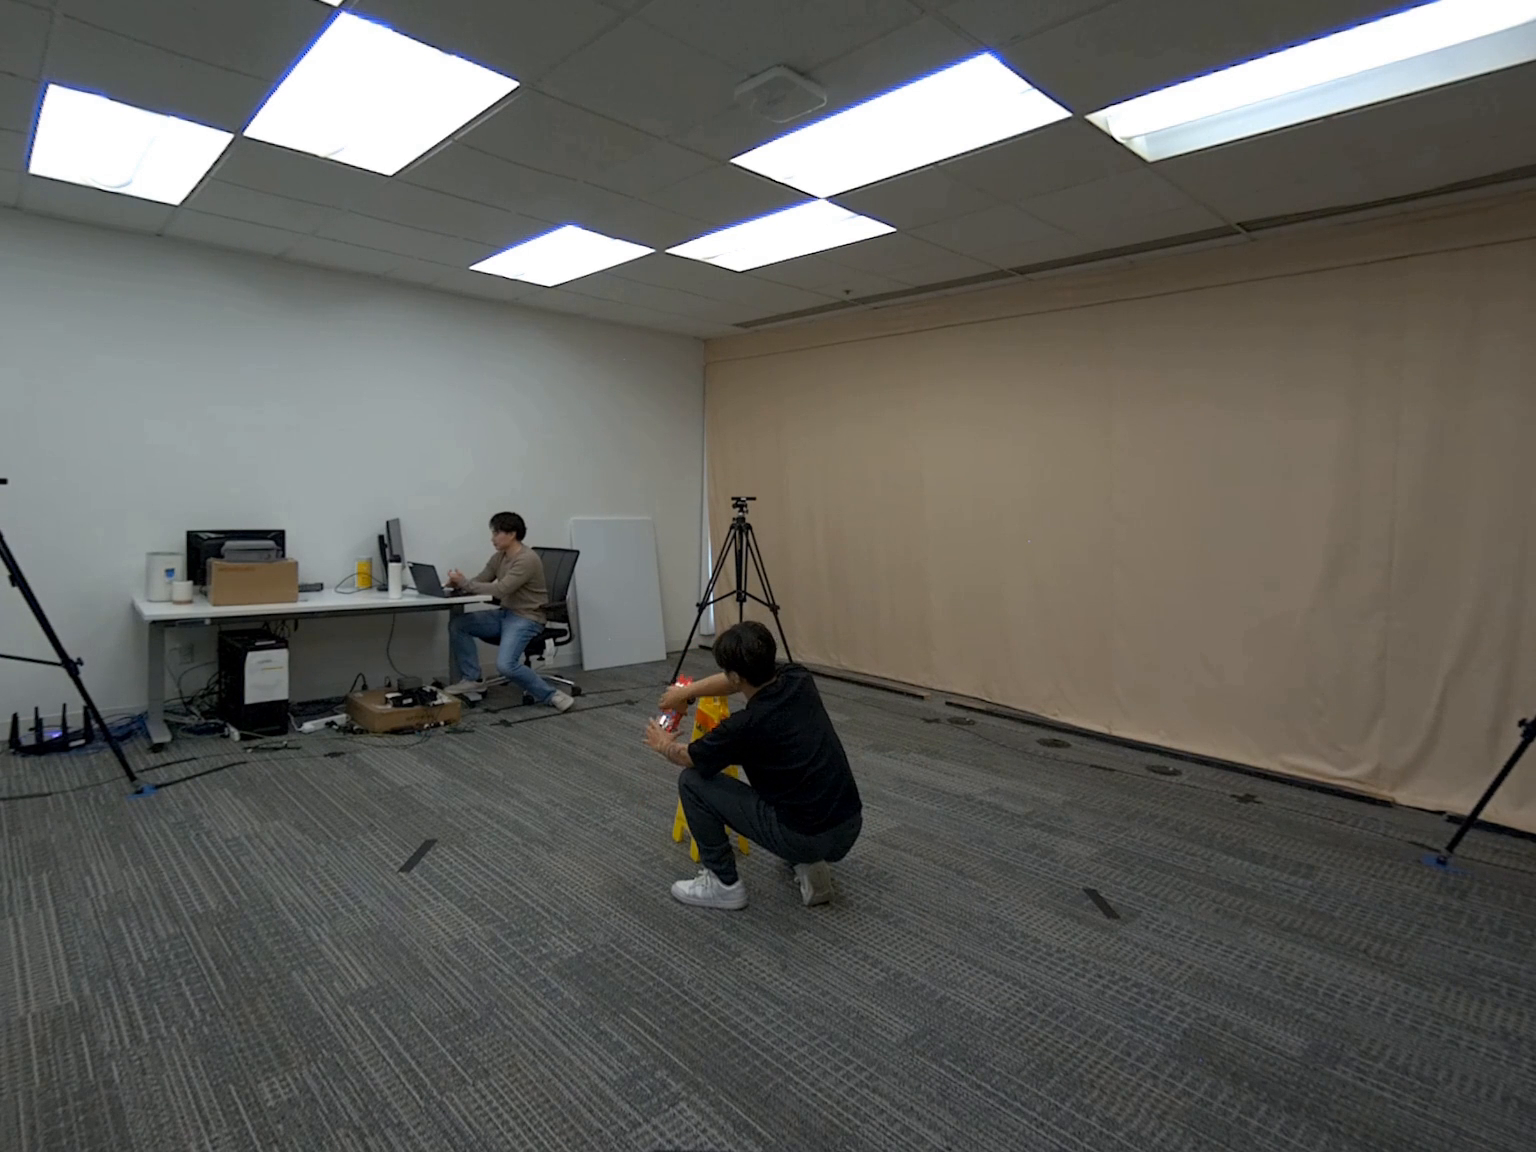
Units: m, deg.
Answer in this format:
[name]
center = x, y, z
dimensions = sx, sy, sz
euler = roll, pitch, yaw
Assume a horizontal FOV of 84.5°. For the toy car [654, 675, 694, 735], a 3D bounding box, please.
[toy car]
center = -0.362, 0.505, 3.293
dimensions = 0.134, 0.256, 0.080
euler = 6, -17, 46
